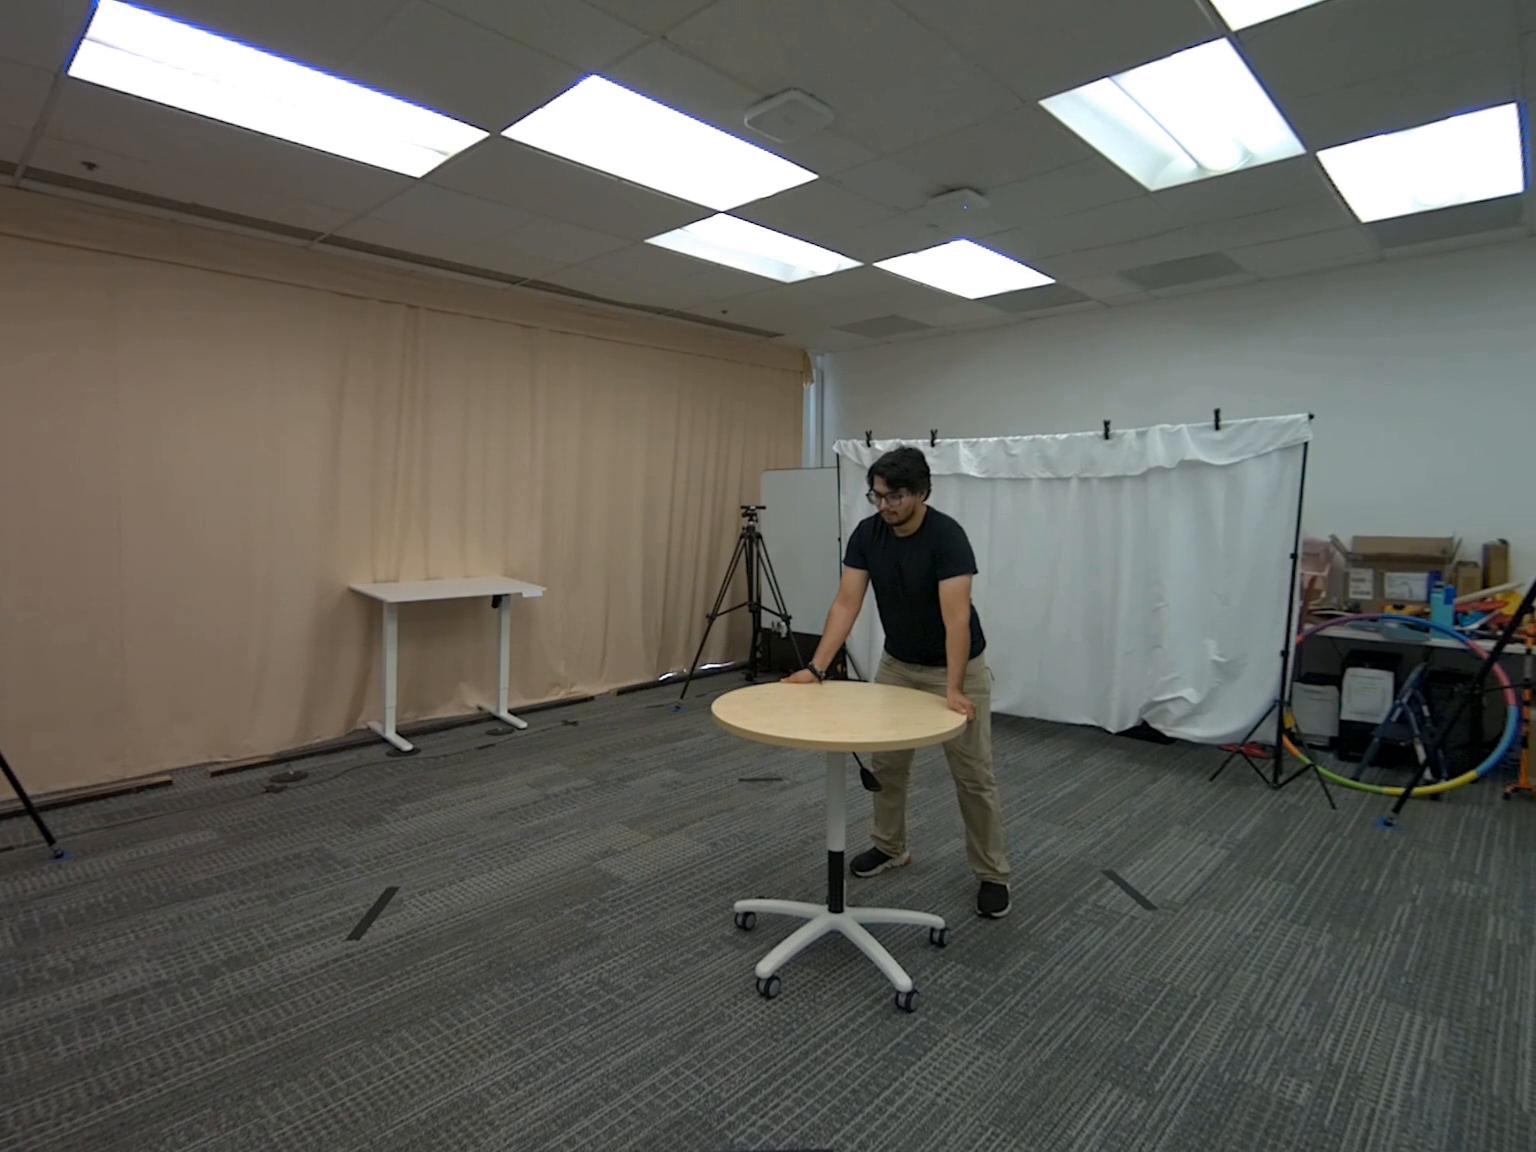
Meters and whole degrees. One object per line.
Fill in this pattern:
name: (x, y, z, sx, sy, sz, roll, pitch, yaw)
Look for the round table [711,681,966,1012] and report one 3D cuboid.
round table: (0.216, 0.784, 2.607, 0.784, 0.785, 0.788, 0, 4, -2)
